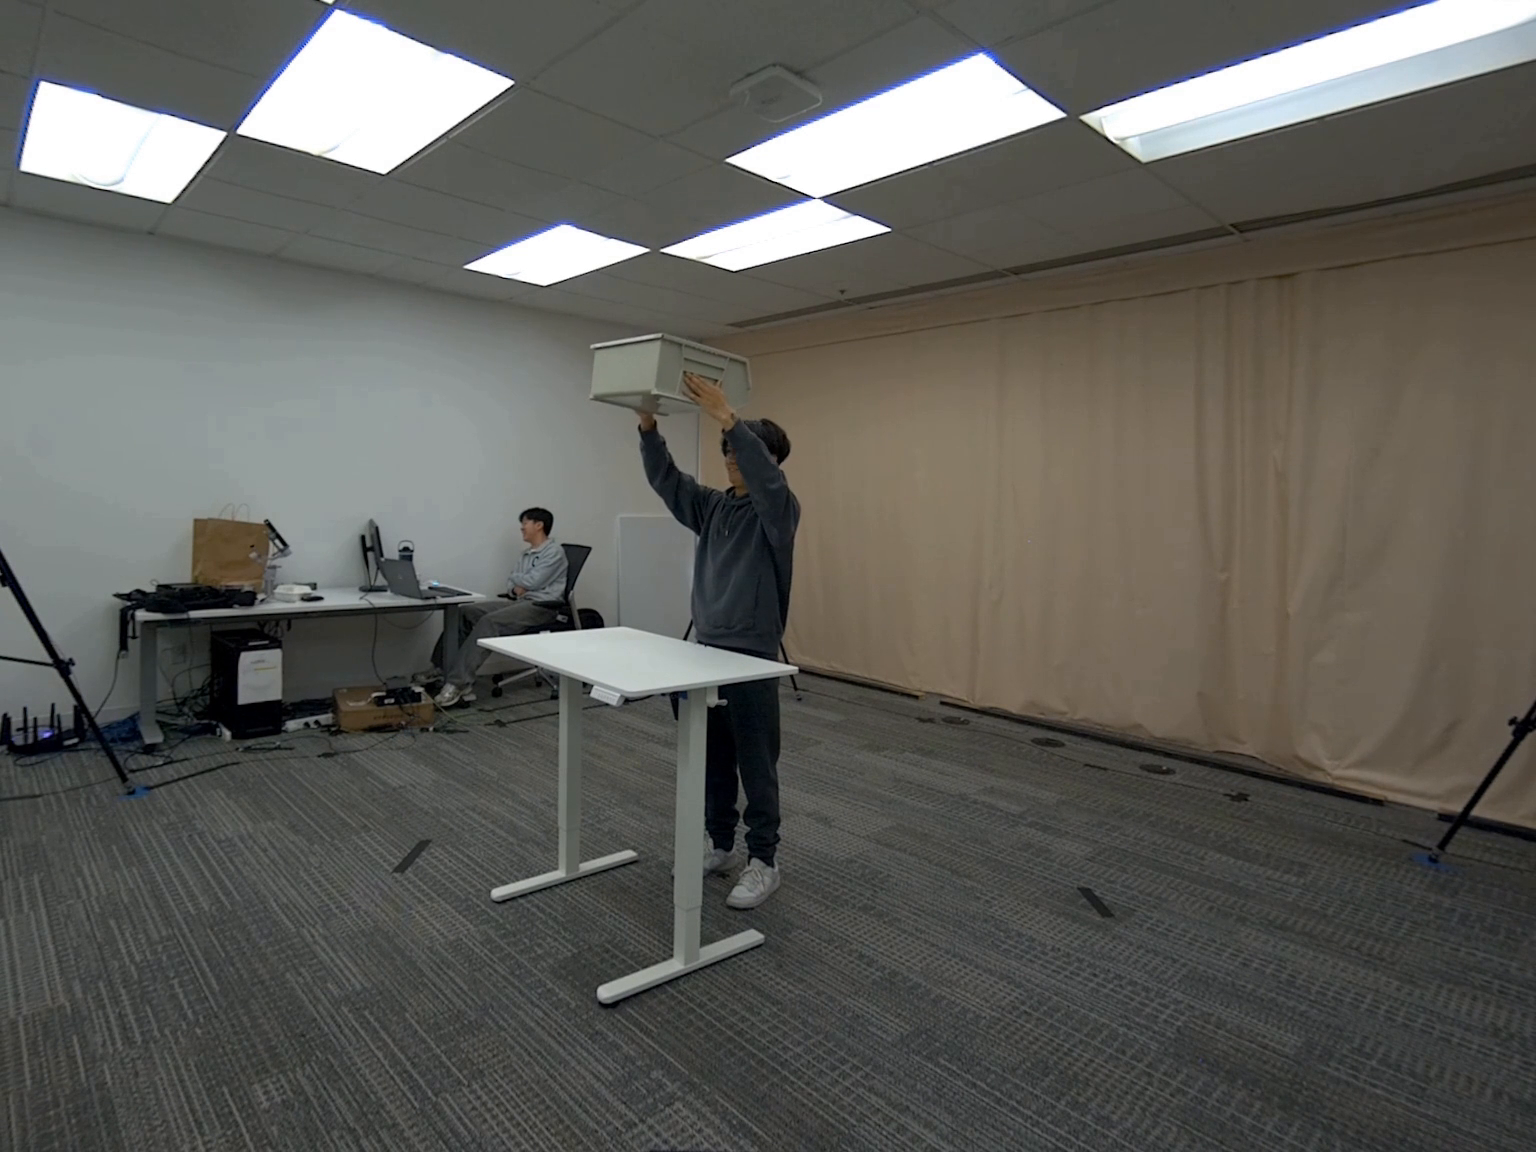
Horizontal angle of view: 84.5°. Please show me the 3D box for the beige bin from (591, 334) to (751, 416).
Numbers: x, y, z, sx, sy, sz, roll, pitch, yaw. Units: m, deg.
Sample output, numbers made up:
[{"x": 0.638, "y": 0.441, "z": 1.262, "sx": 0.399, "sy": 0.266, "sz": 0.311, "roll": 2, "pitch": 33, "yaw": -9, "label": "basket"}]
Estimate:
[{"x": -0.328, "y": -0.642, "z": 2.764, "sx": 0.368, "sy": 0.189, "sz": 0.434, "roll": 5, "pitch": 4, "yaw": -41, "label": "beige bin"}]
